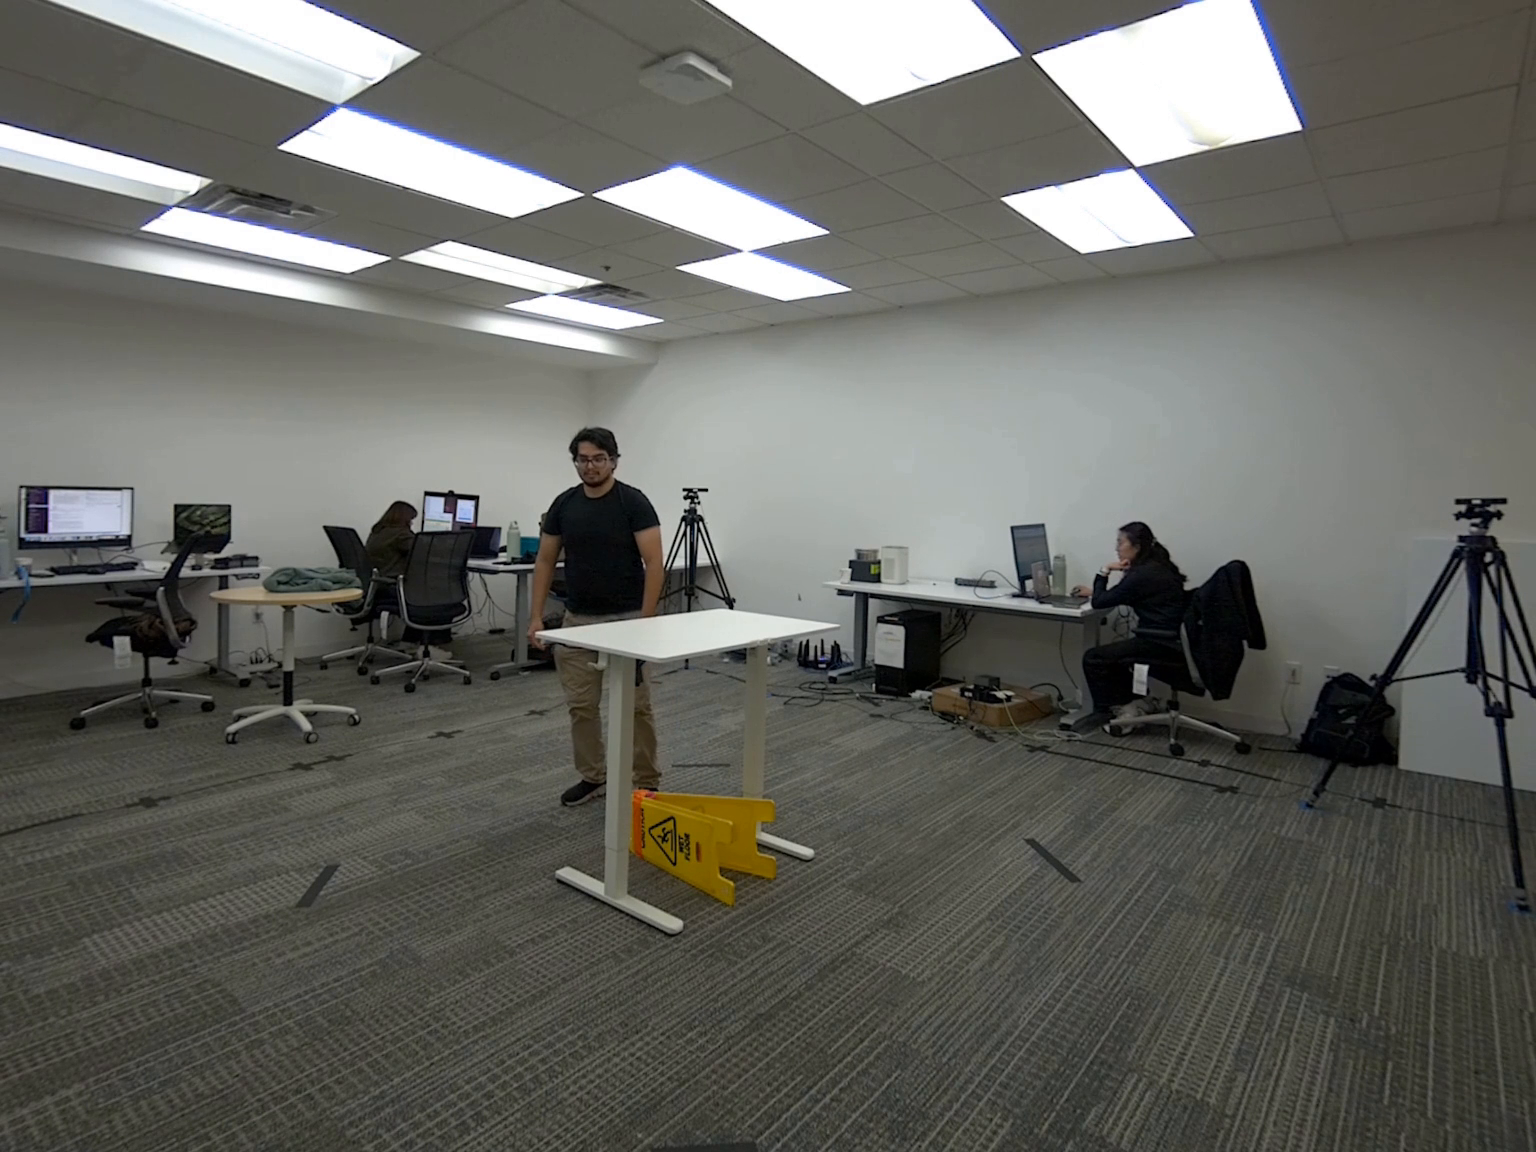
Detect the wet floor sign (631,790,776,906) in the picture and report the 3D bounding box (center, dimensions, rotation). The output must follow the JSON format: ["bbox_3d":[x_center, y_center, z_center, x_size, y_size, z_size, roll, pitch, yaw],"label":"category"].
[{"bbox_3d":[-0.329,0.944,3.122,0.666,0.282,0.282,1,3,35],"label":"wet floor sign"}]
